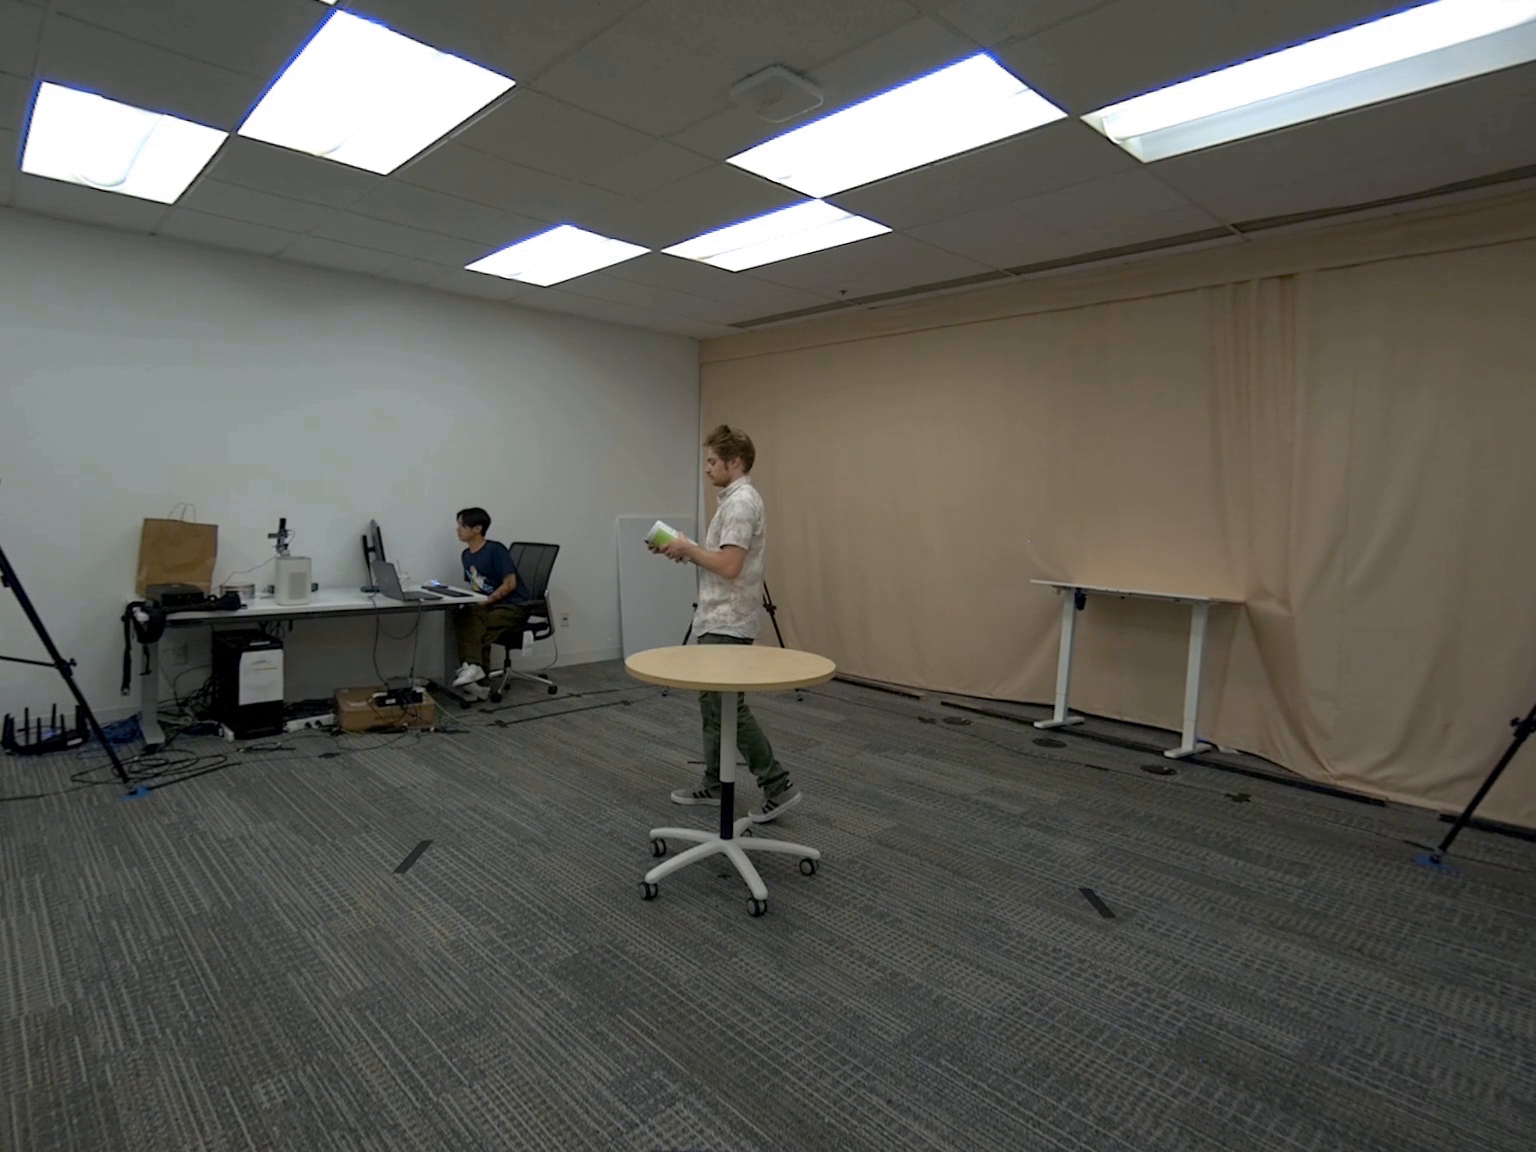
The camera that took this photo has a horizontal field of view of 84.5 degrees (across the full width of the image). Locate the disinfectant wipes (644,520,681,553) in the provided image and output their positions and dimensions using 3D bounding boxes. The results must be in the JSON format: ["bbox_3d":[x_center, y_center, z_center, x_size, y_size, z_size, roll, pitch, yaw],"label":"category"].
[{"bbox_3d":[-0.434,-0.155,3.783,0.218,0.117,0.118,31,5,1],"label":"disinfectant wipes"}]
